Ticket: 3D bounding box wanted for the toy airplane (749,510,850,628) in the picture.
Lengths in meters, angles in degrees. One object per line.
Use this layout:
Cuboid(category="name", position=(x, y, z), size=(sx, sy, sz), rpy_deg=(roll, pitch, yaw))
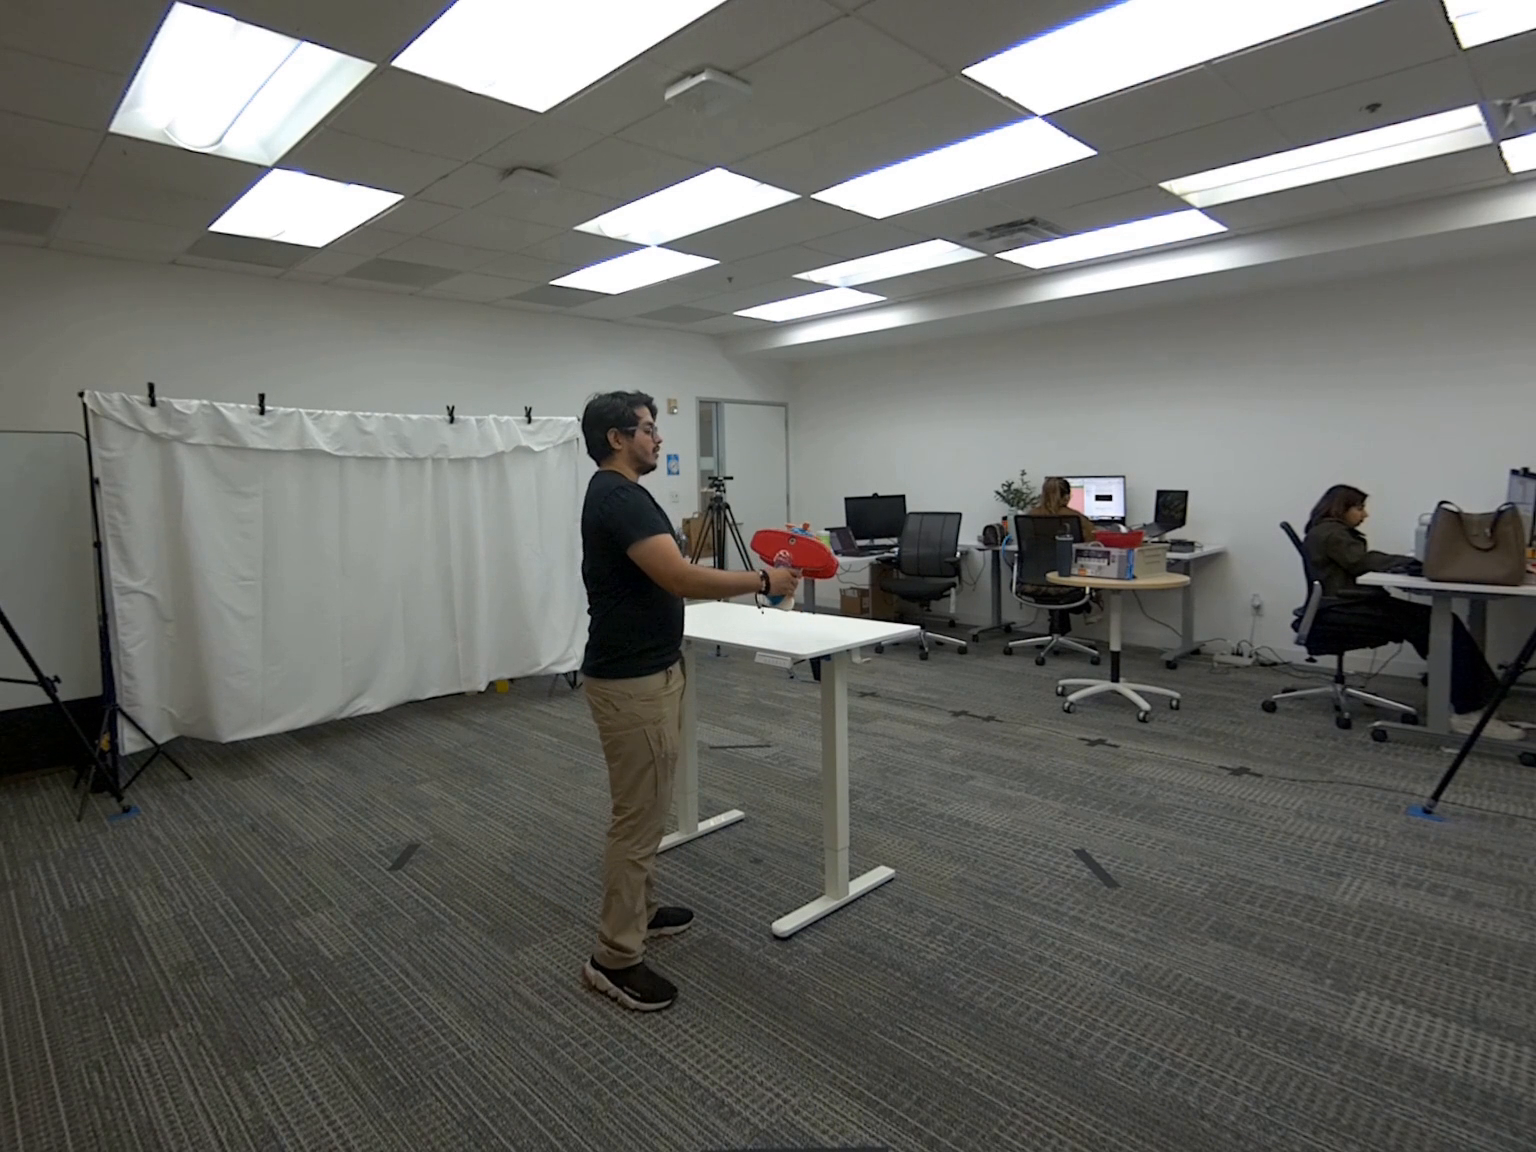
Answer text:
Cuboid(category="toy airplane", position=(0.088, -0.021, 2.496), size=(0.254, 0.266, 0.151), rpy_deg=(-10, -40, 14))
